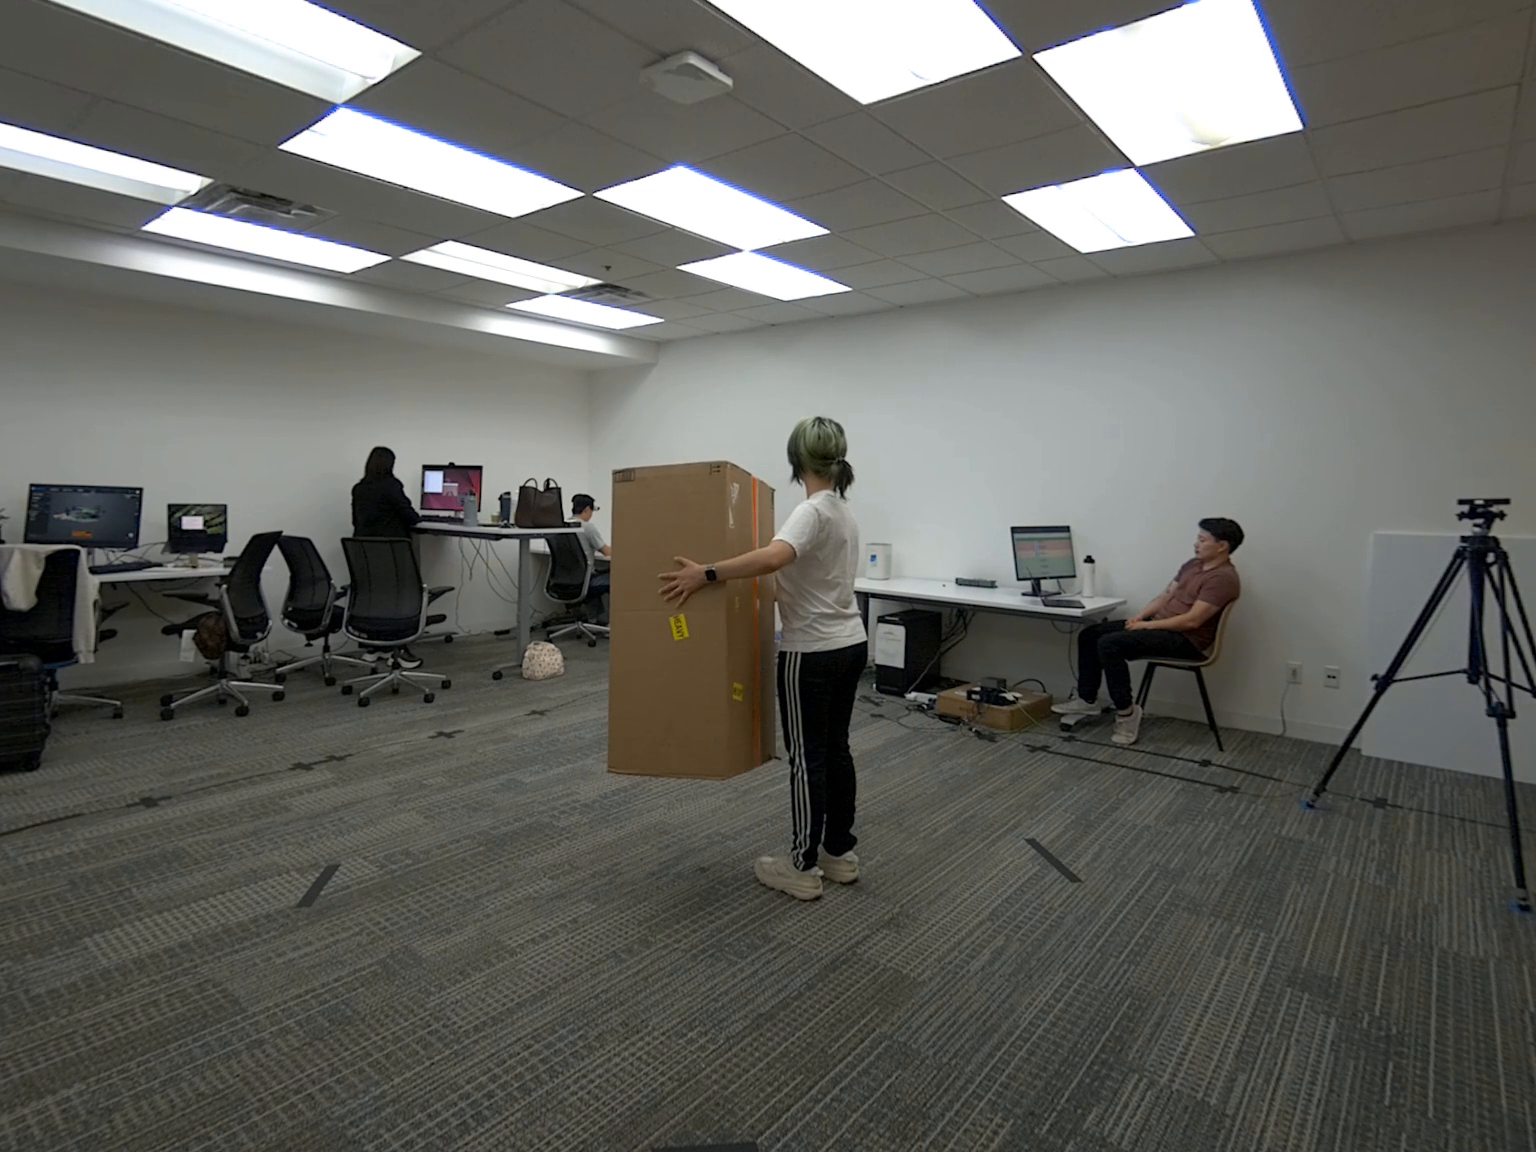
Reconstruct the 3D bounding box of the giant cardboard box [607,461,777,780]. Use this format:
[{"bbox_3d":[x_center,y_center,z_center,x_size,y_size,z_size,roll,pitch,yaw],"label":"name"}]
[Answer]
[{"bbox_3d":[-0.258,0.155,3.059,0.434,1.033,0.563,-3,-7,18],"label":"giant cardboard box"}]
